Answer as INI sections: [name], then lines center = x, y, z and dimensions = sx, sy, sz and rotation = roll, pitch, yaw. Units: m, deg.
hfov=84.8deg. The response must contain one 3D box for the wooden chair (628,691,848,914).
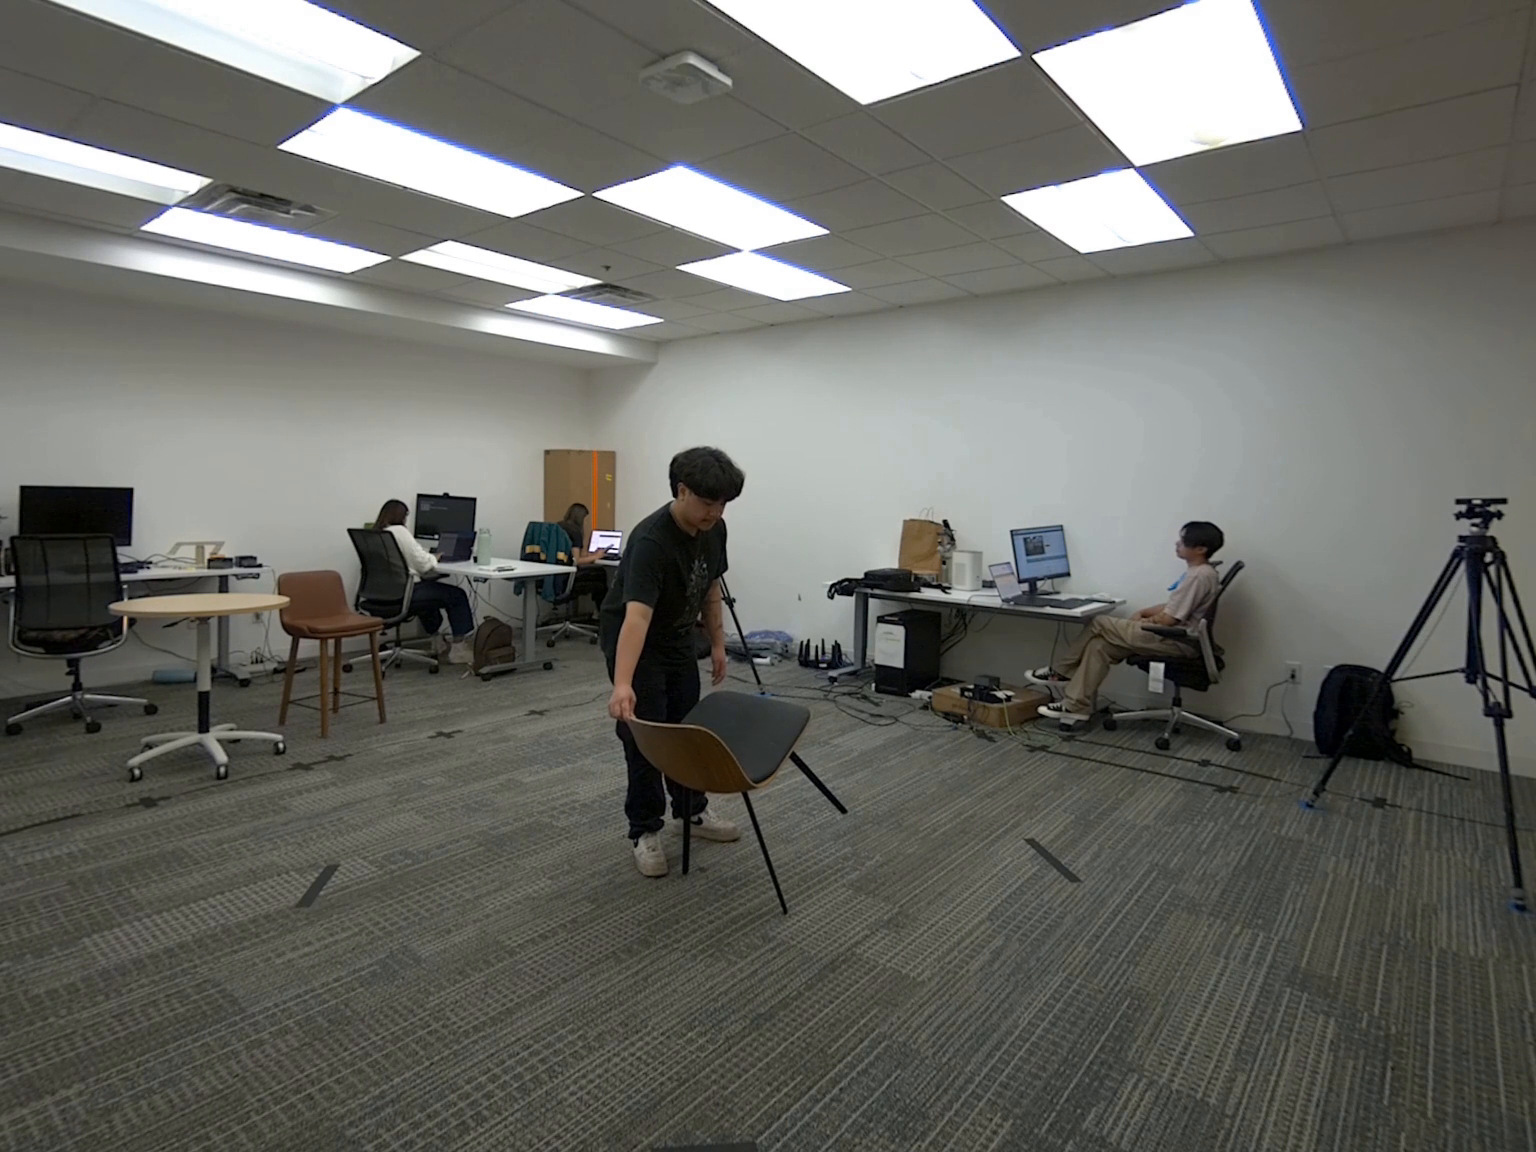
[wooden chair]
center = -0.126, 0.604, 2.892
dimensions = 0.494, 0.848, 0.524
rotation = 3, 40, 38
